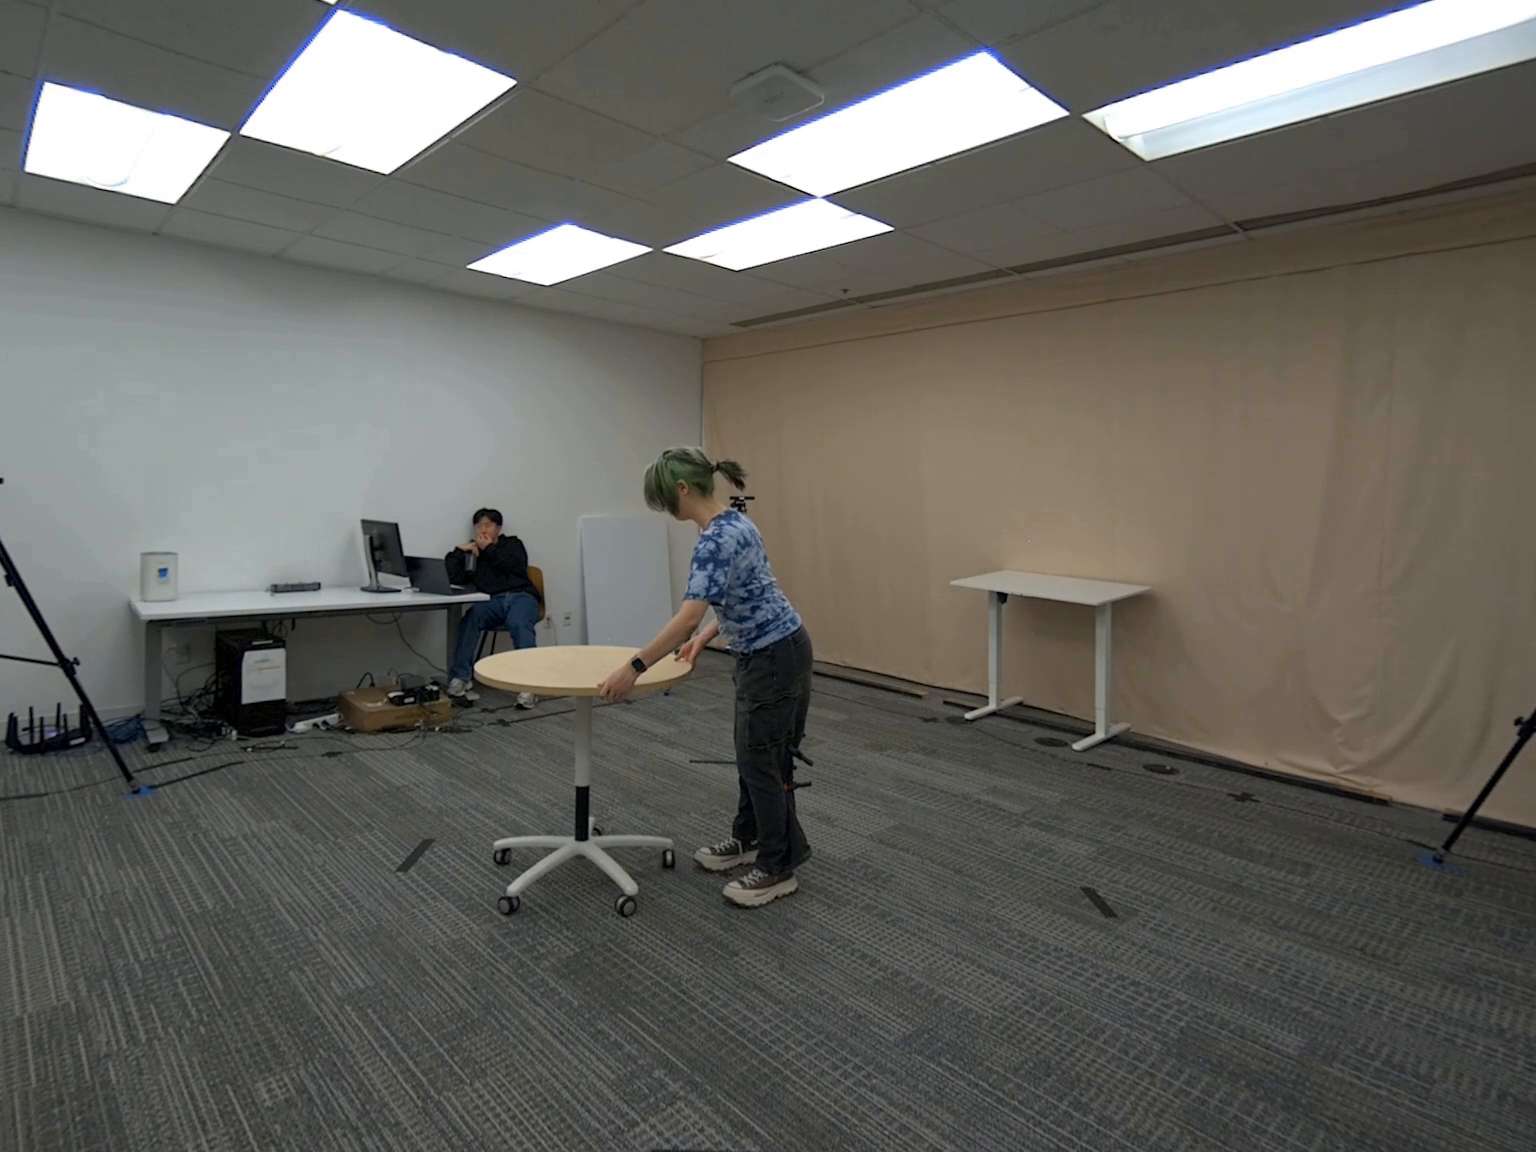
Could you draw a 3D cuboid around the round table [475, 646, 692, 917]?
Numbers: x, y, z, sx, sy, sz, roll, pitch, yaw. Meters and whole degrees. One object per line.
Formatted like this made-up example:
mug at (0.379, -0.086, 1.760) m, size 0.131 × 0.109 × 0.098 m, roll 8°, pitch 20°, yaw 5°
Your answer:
round table at (-0.672, 0.708, 3.044) m, size 0.763 × 0.792 × 0.767 m, roll 1°, pitch 4°, yaw -1°
